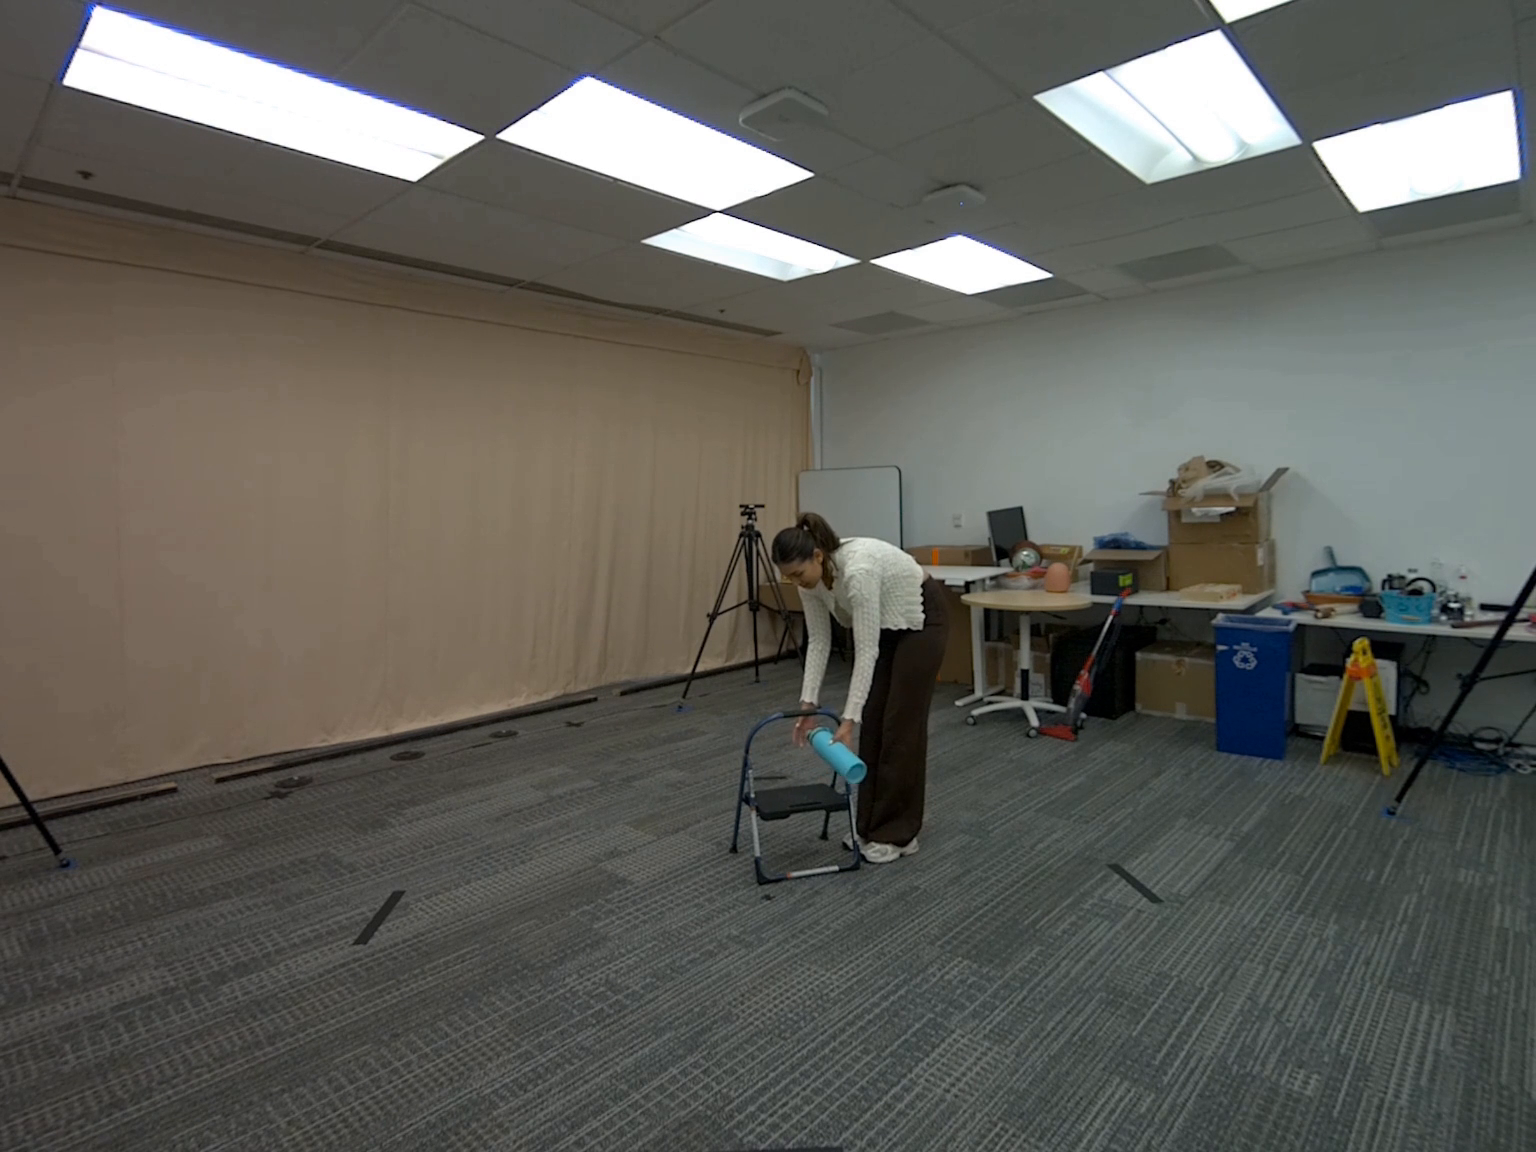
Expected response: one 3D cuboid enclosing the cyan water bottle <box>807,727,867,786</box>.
[{"bbox_3d":[0.245,0.628,3.017,0.090,0.091,0.293,-3,21,-25],"label":"cyan water bottle"}]
